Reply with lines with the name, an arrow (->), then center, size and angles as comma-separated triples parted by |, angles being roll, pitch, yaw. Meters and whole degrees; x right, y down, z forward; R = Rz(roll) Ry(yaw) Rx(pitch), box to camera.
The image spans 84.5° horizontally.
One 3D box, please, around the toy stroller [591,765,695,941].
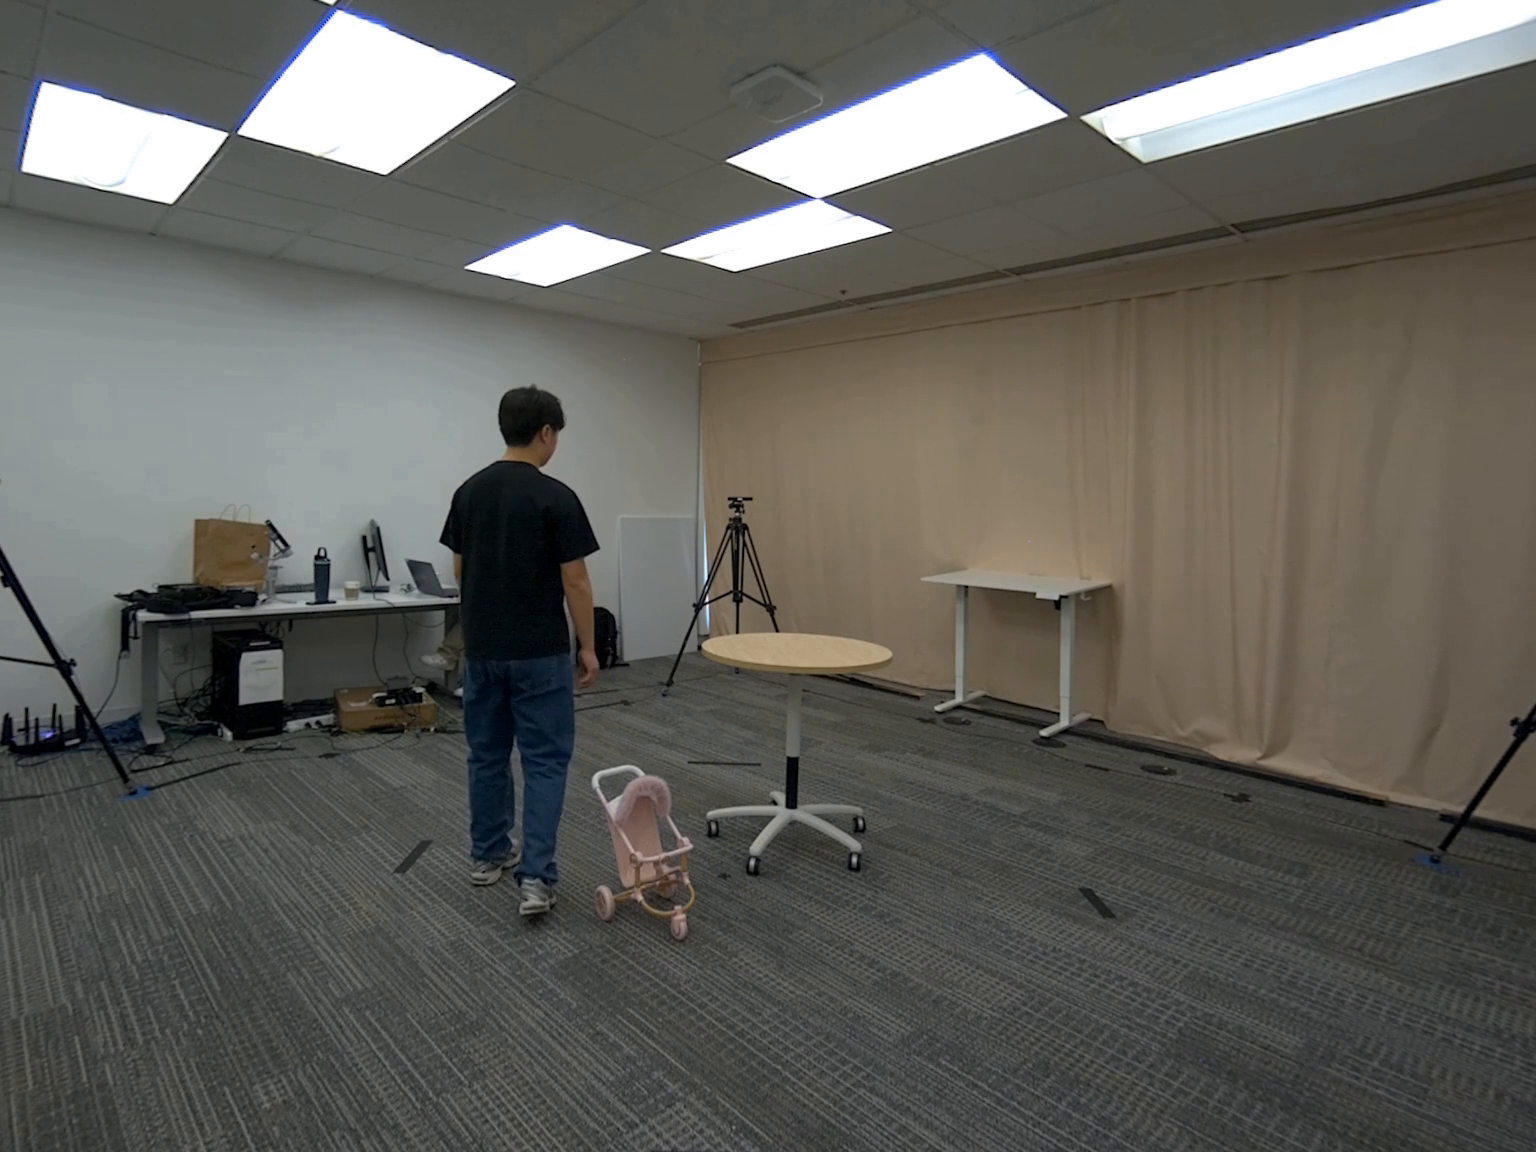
toy stroller -> -0.406, 0.906, 2.781 | 0.275, 0.539, 0.346 | -2, -11, -37
